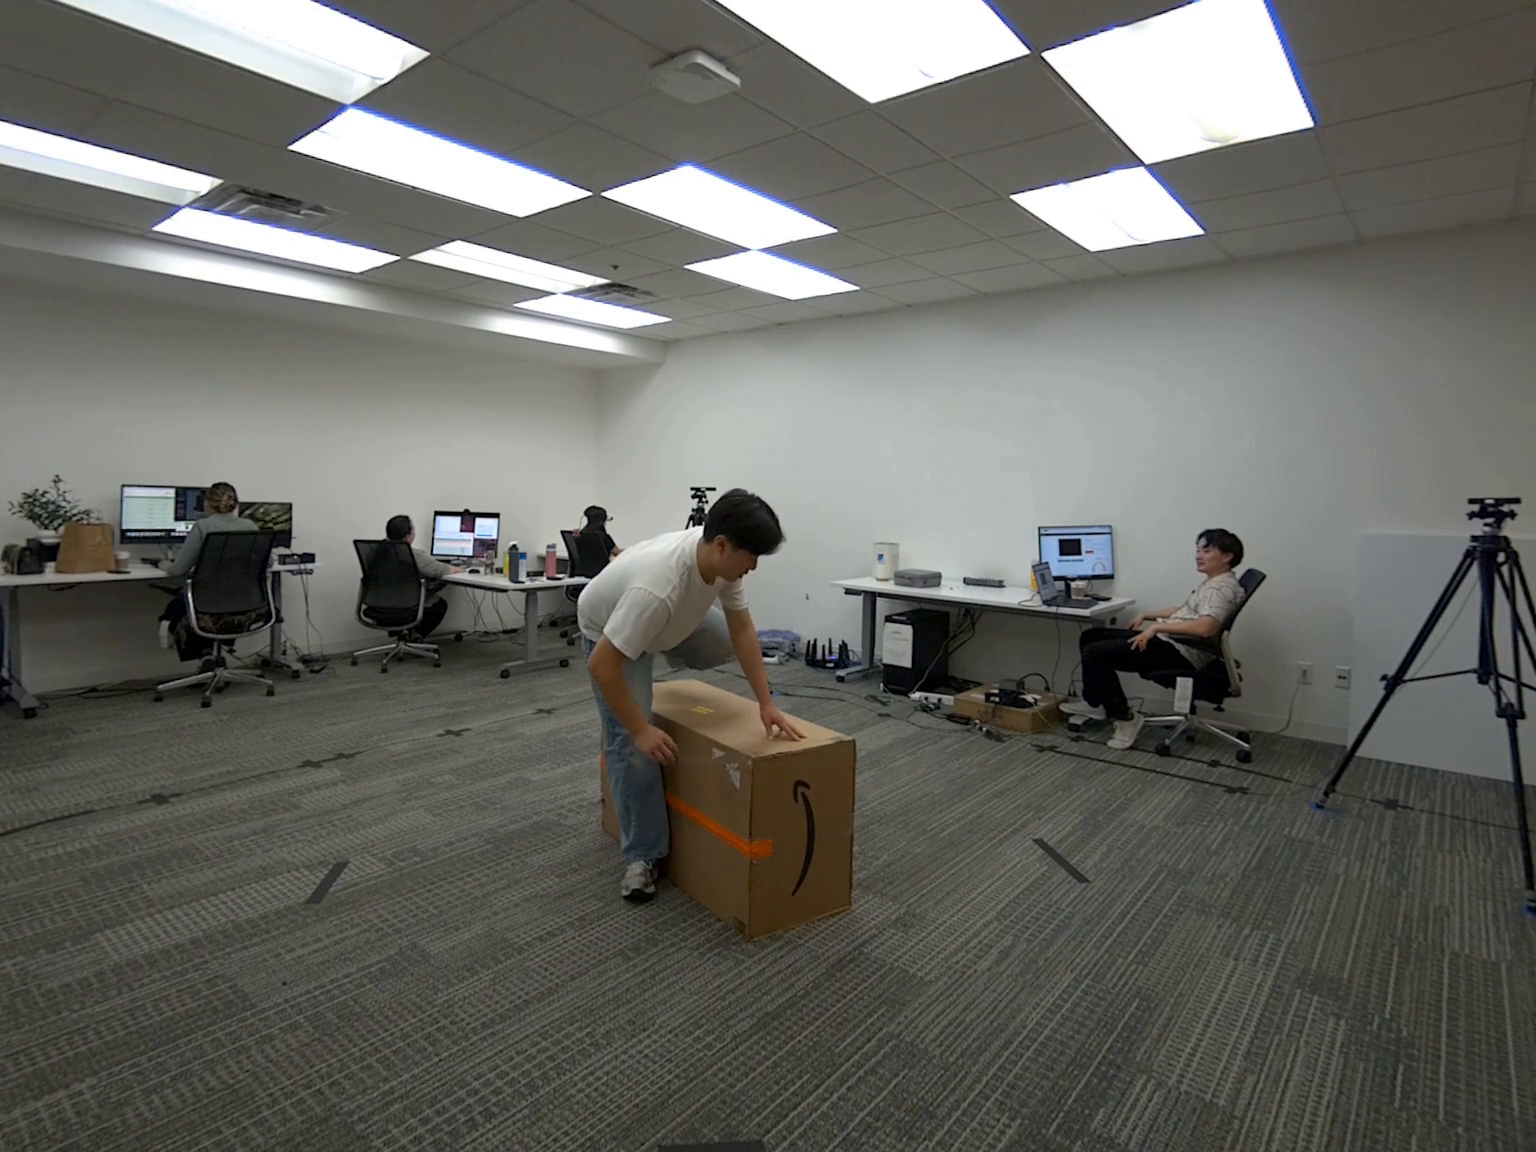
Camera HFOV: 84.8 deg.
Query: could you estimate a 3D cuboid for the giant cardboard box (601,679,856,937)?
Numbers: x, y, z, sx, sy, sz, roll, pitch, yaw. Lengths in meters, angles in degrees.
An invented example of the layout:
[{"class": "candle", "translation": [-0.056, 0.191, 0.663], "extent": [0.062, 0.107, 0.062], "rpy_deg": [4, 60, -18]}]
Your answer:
[{"class": "giant cardboard box", "translation": [-0.197, 0.778, 3.122], "extent": [0.414, 0.576, 1.059], "rpy_deg": [-1, 5, -35]}]
